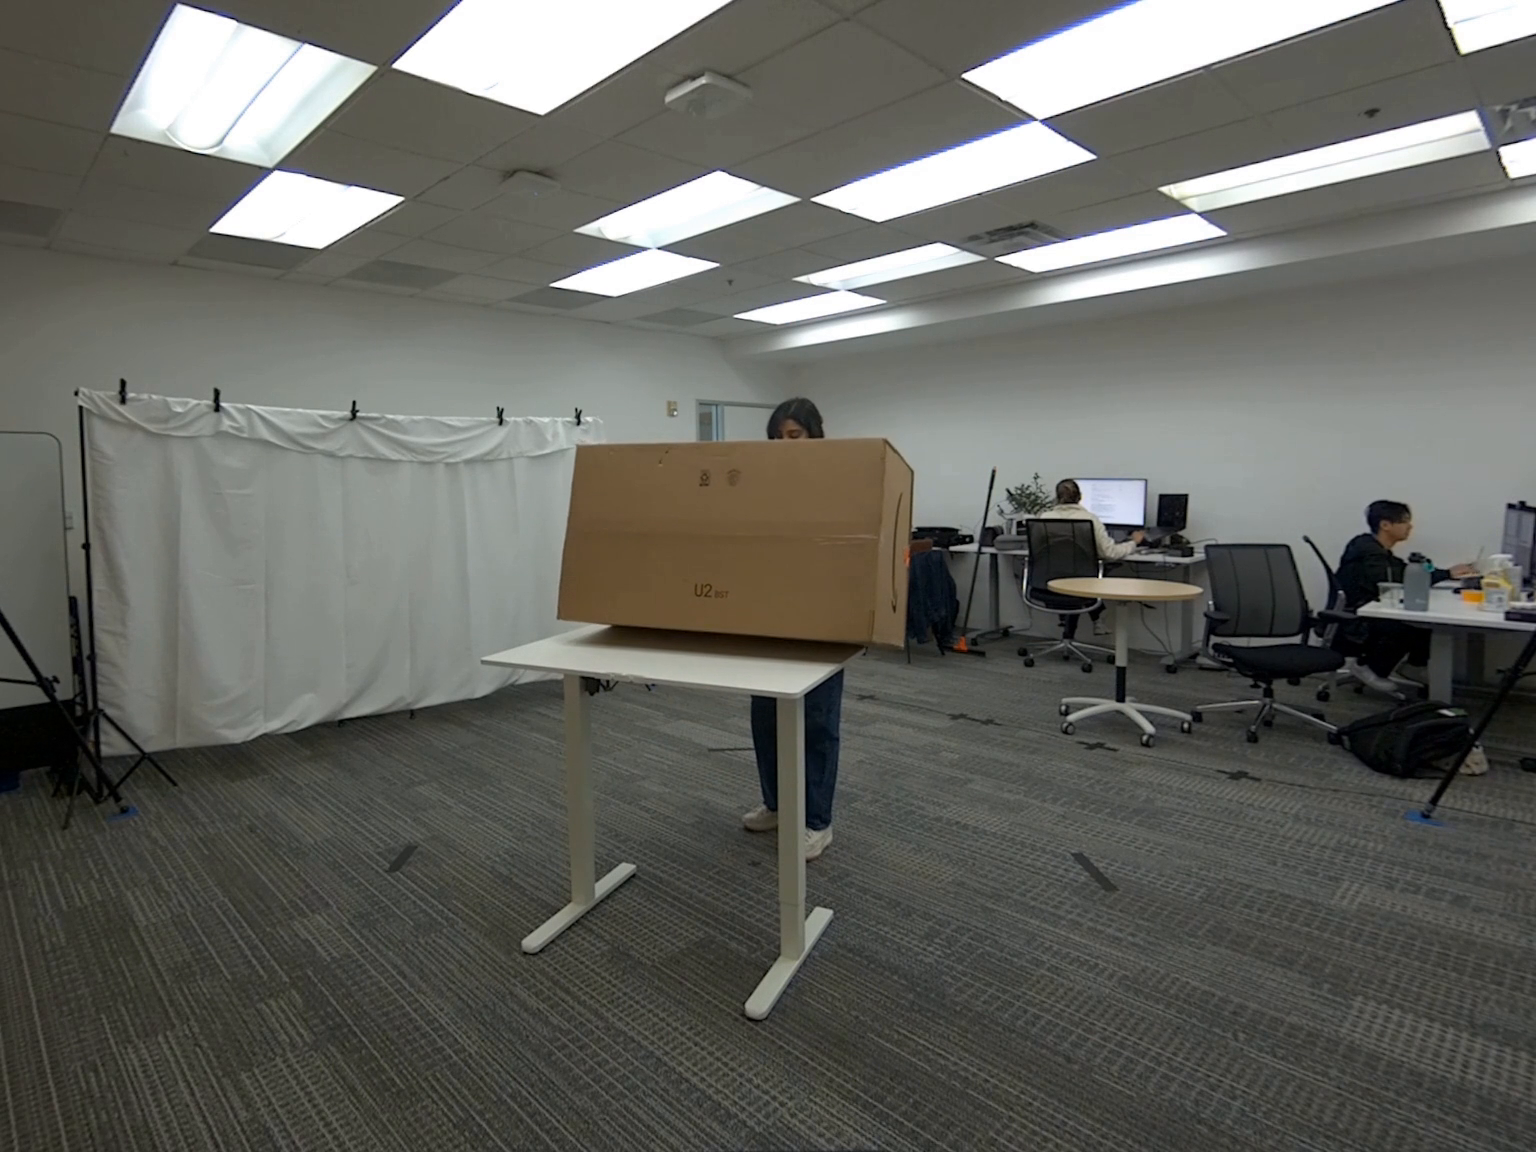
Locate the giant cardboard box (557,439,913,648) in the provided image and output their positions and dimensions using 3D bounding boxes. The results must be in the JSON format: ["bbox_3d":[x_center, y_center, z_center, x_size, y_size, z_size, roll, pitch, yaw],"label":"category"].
[{"bbox_3d":[-0.101,-0.101,2.734,1.048,0.581,0.414,2,-8,23],"label":"giant cardboard box"}]
